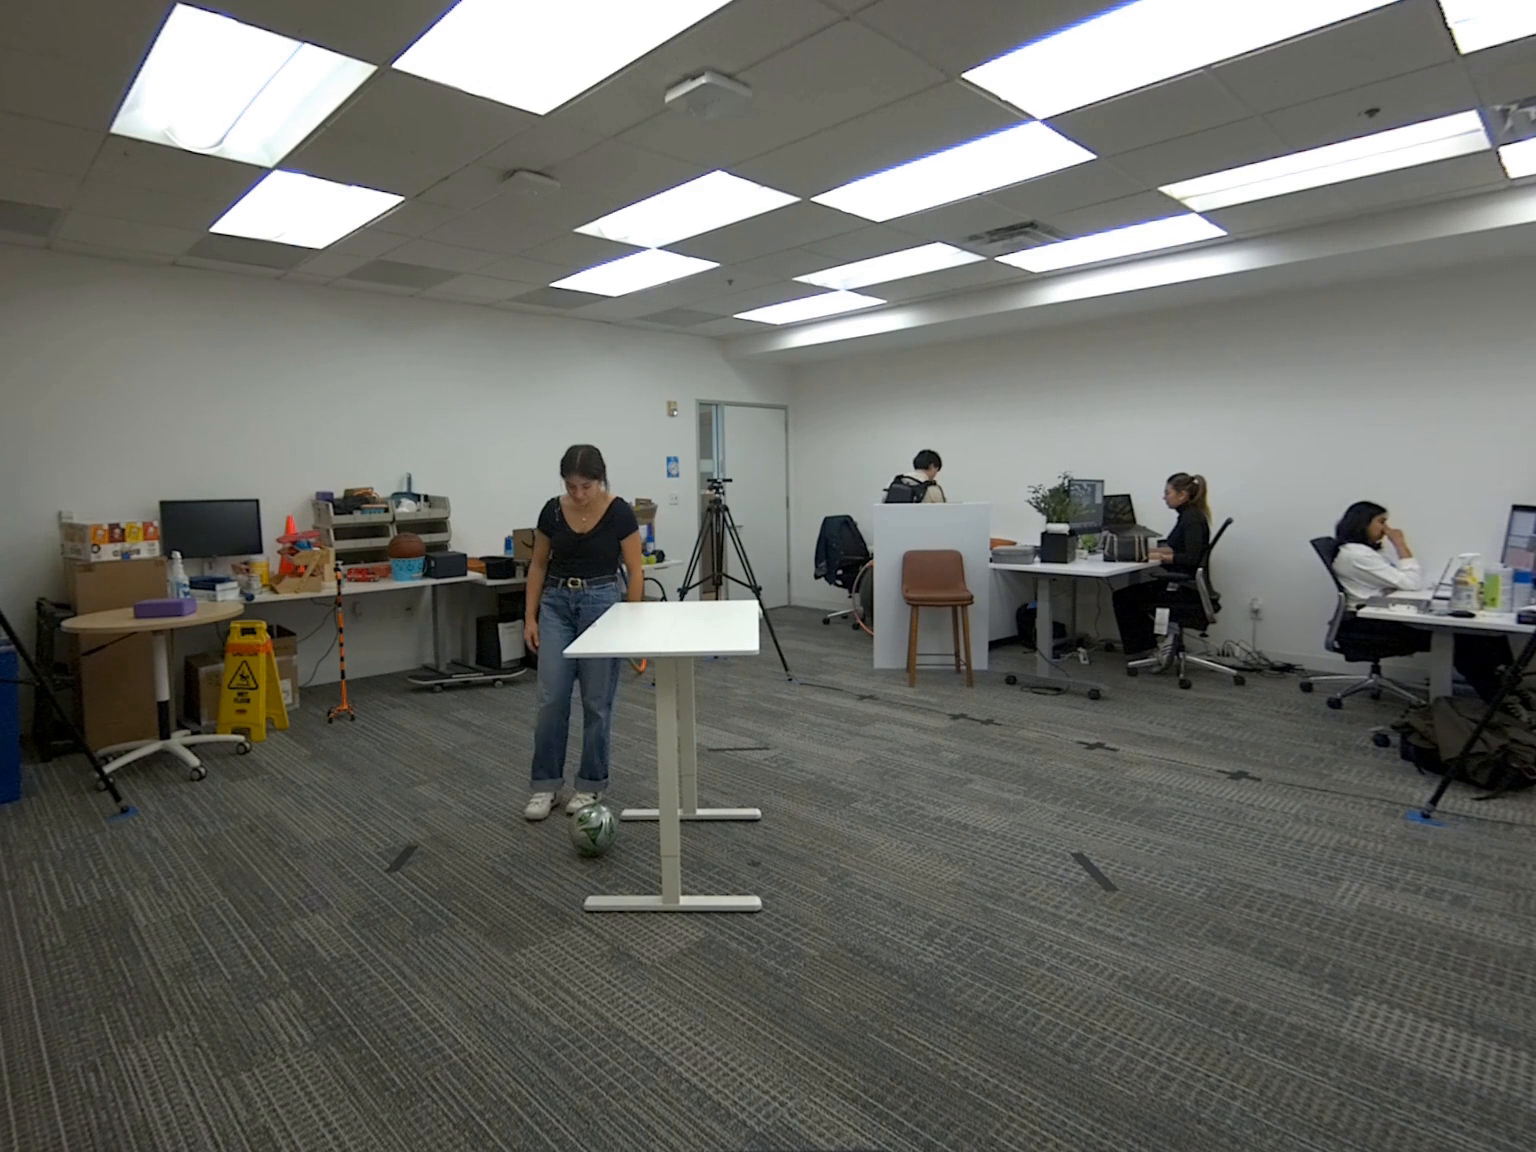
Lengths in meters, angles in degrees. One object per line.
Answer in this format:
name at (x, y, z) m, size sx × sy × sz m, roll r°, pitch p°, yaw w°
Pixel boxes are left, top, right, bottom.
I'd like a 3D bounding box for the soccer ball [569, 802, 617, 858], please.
soccer ball at (-0.654, 0.953, 3.215) m, size 0.187 × 0.187 × 0.188 m, roll -1°, pitch 5°, yaw -2°
